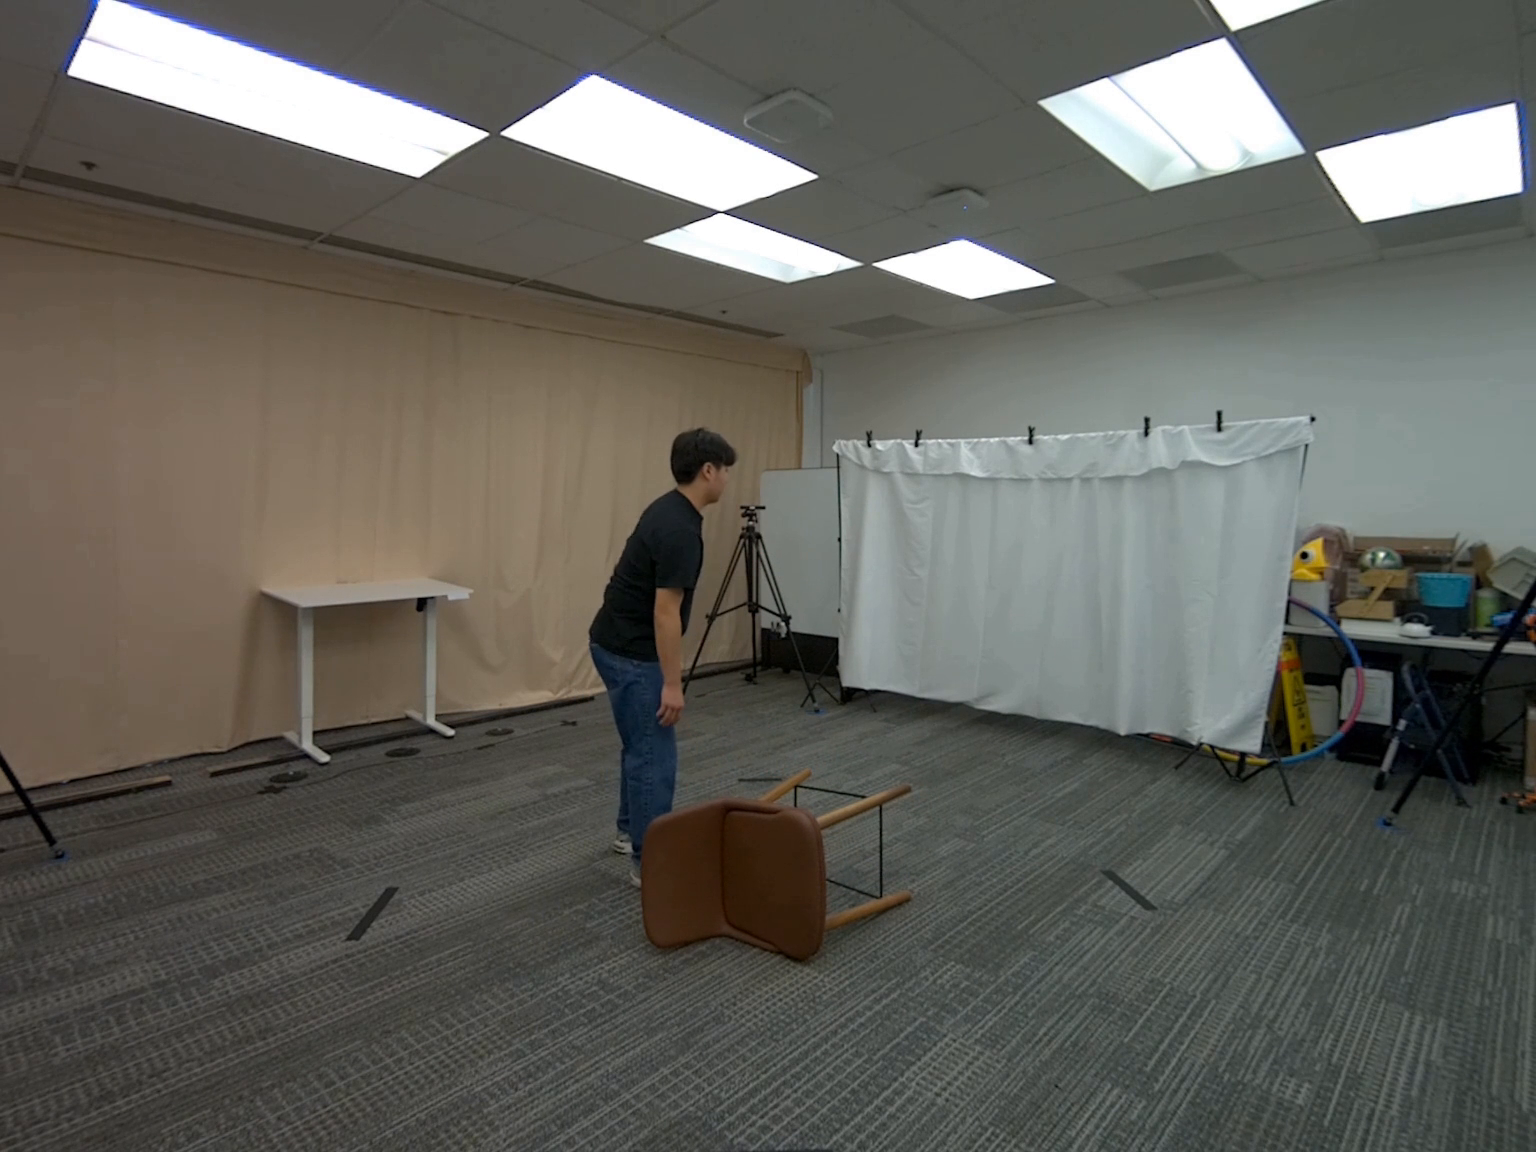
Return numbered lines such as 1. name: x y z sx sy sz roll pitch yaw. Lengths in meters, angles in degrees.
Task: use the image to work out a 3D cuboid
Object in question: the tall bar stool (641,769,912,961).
1. tall bar stool: 0.066 0.943 2.786 0.483 0.456 0.862 1 2 40
